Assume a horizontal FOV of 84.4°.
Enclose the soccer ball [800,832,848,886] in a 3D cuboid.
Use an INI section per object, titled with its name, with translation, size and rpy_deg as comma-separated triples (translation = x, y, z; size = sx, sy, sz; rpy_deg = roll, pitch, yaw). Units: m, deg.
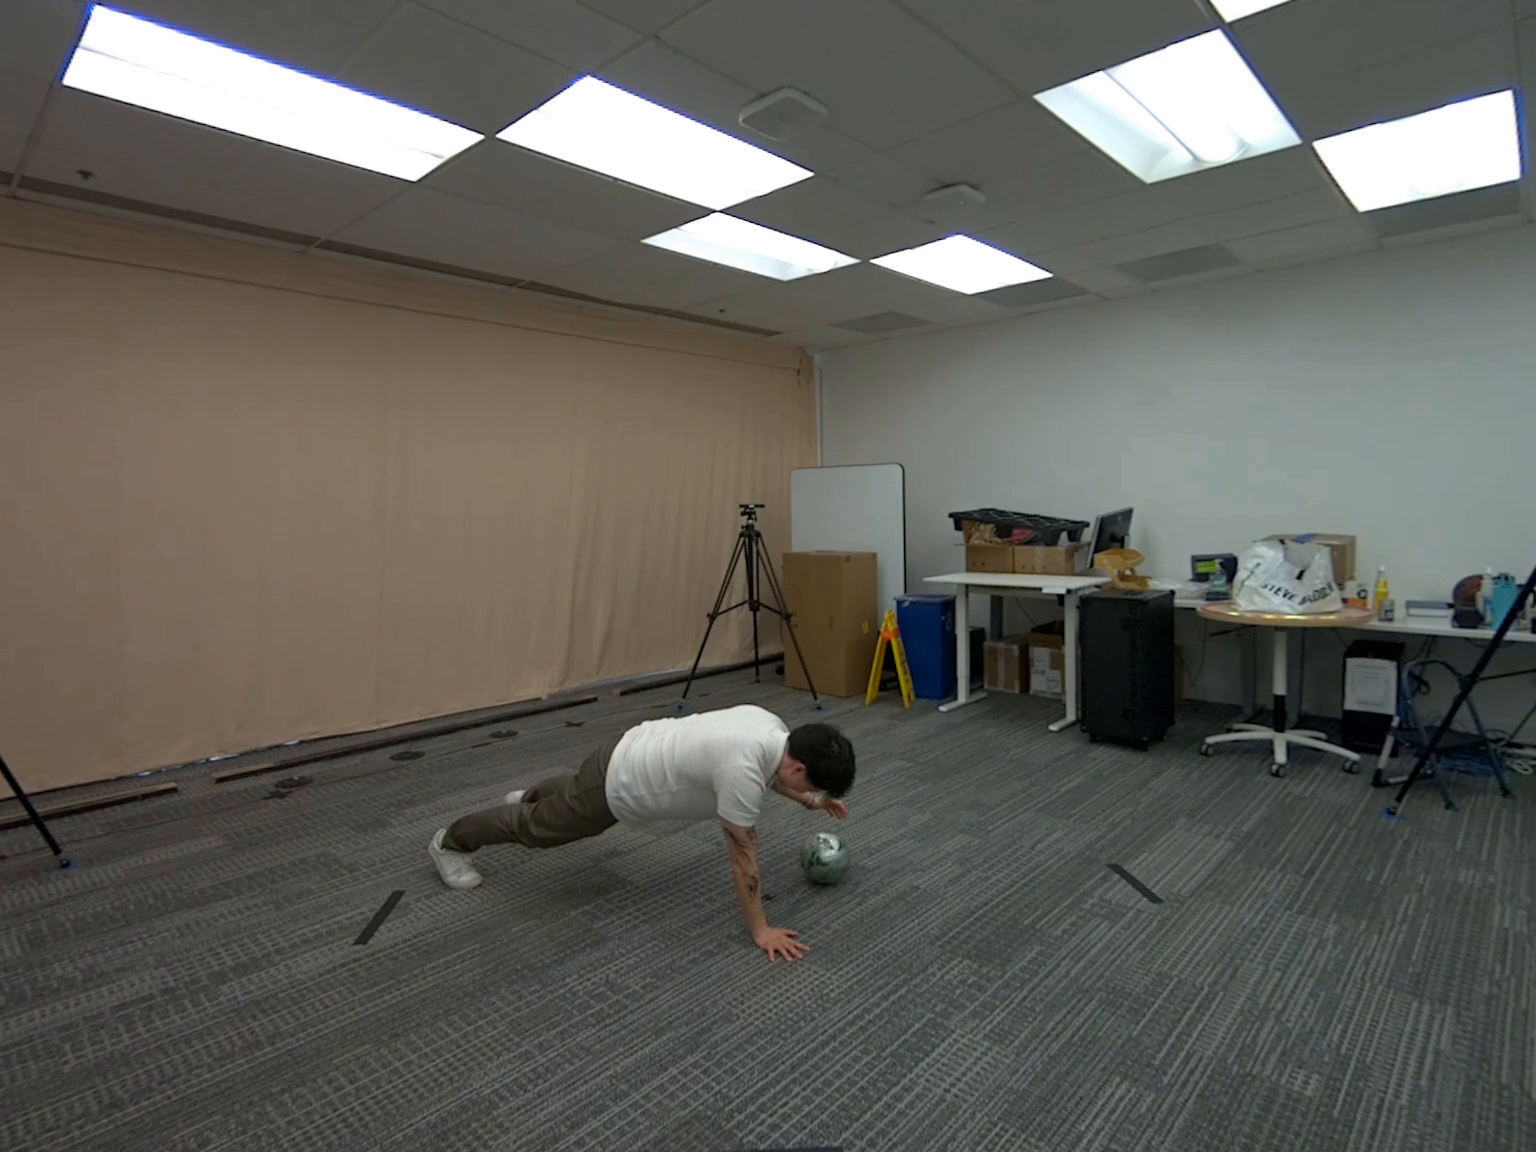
[soccer ball]
translation = 0.209, 1.031, 3.087
size = 0.187, 0.187, 0.188
rpy_deg = -1, 4, -2
